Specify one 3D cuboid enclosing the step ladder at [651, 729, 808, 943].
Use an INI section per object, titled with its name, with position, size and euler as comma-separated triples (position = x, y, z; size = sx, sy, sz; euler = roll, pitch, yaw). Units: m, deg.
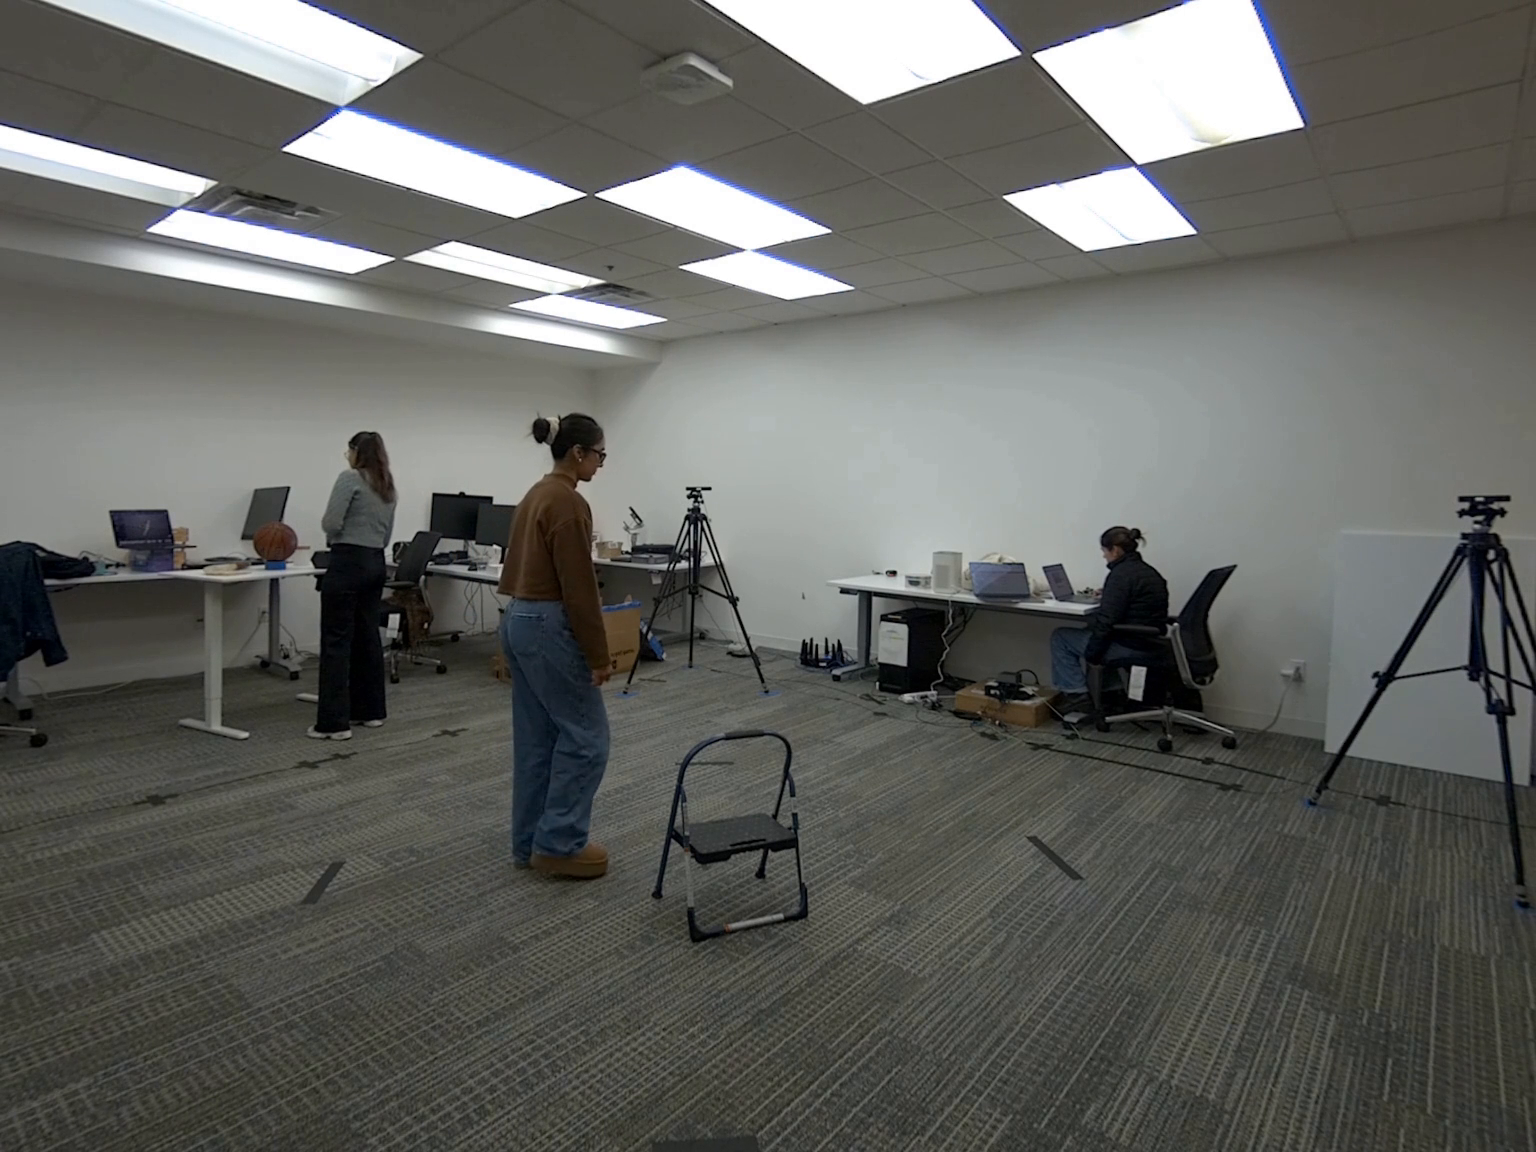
[step ladder]
position = -0.134, 0.794, 2.814
size = 0.420, 0.604, 0.359
euler = -1, 4, -27
